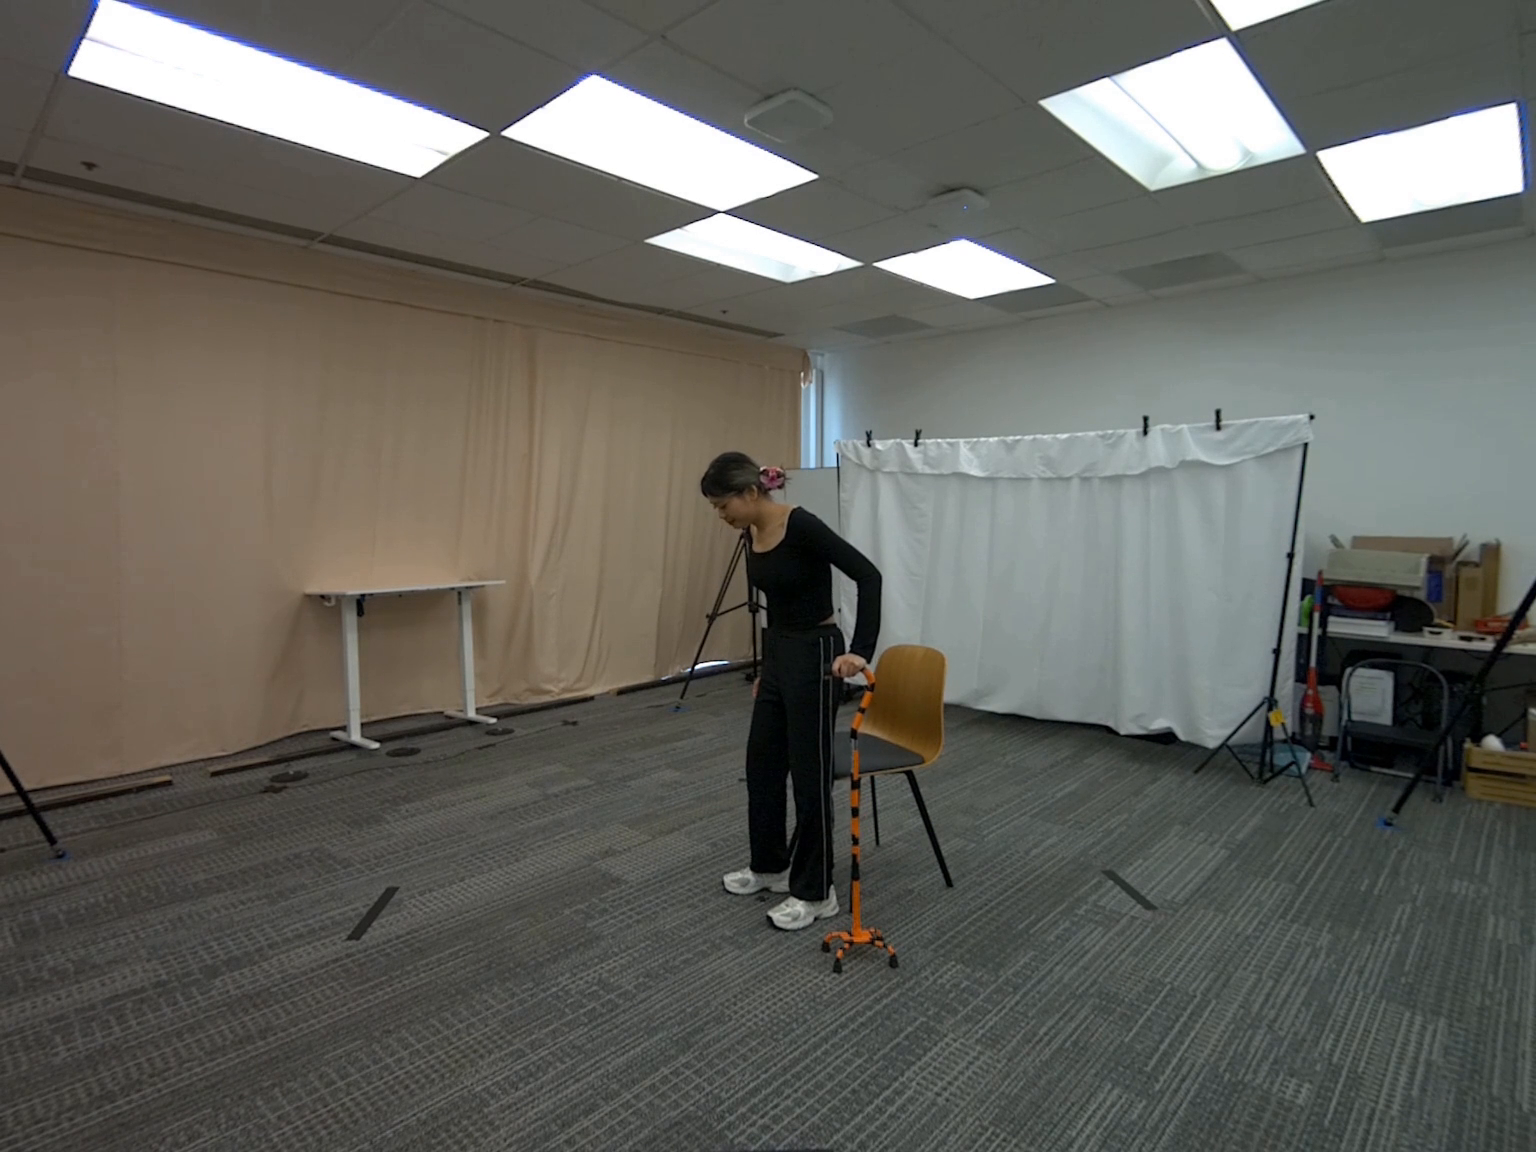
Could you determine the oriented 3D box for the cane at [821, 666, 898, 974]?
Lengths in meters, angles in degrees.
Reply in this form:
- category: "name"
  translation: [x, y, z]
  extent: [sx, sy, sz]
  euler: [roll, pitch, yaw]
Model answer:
- category: "cane"
  translation: [0.271, 0.724, 2.574]
  extent: [0.204, 0.906, 0.153]
  euler: [-2, 2, -12]
